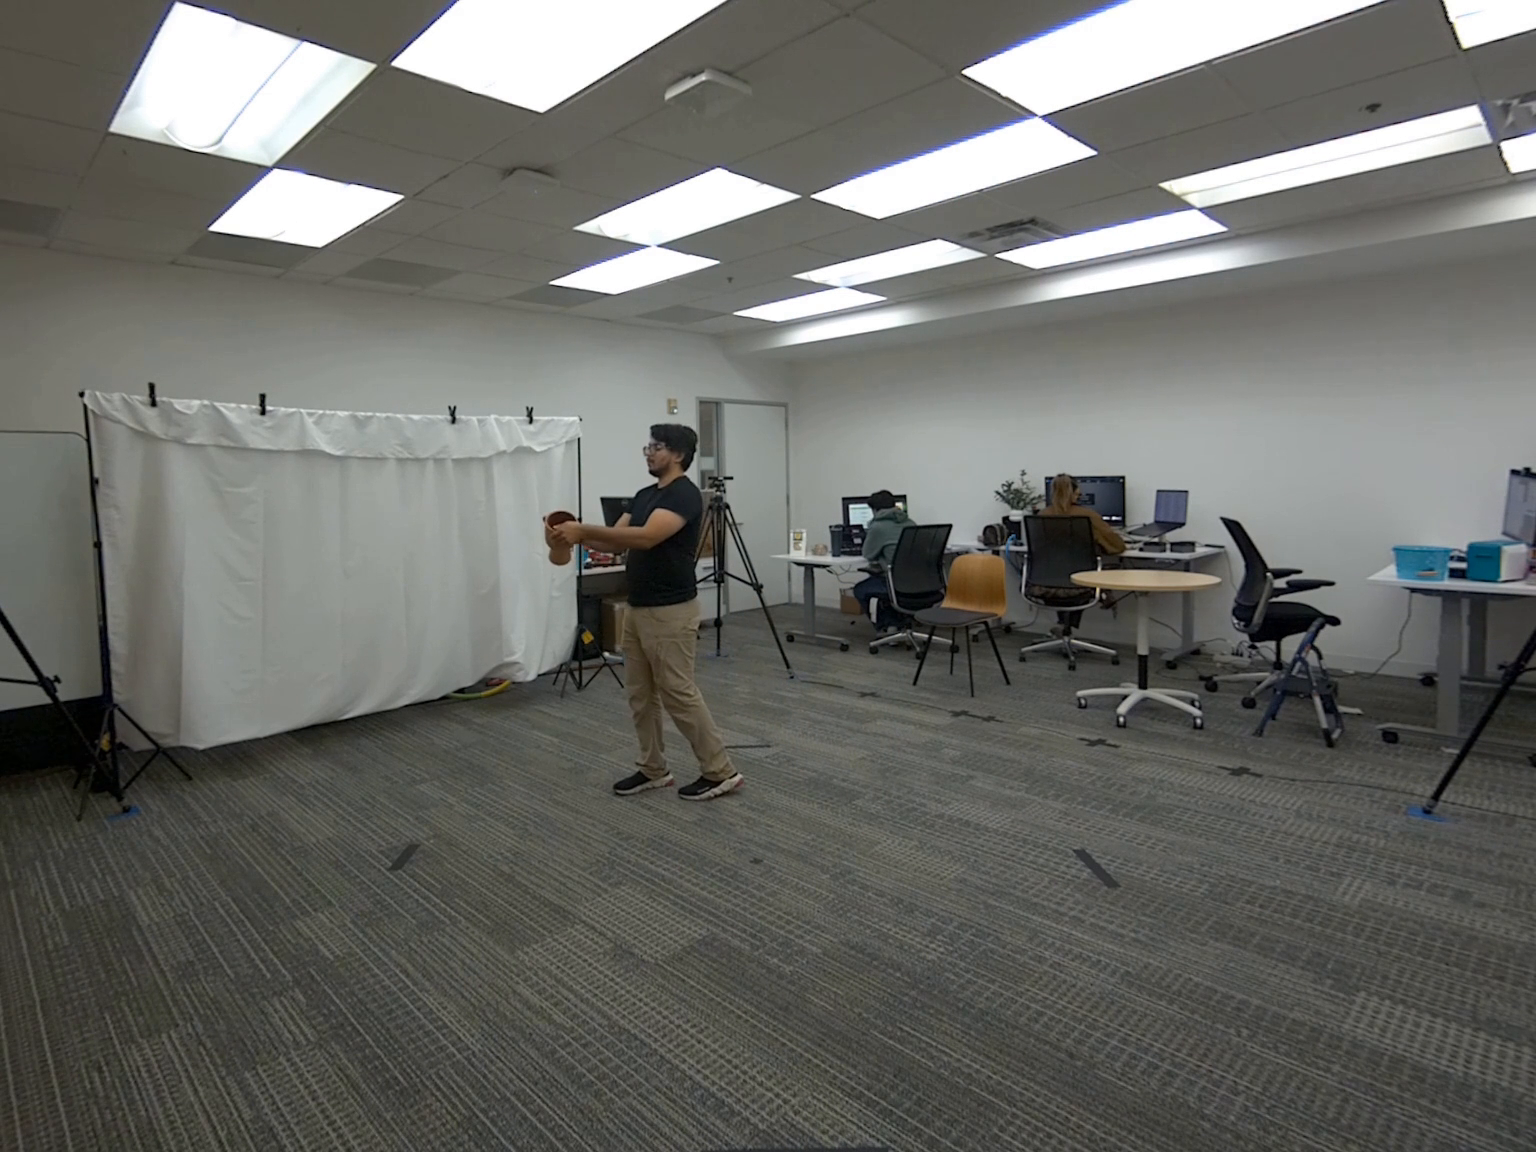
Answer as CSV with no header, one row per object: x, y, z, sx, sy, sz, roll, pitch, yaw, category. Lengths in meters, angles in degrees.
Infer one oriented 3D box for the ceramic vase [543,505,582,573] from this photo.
-0.861,-0.155,3.583,0.133,0.215,0.164,-6,49,-17,ceramic vase
